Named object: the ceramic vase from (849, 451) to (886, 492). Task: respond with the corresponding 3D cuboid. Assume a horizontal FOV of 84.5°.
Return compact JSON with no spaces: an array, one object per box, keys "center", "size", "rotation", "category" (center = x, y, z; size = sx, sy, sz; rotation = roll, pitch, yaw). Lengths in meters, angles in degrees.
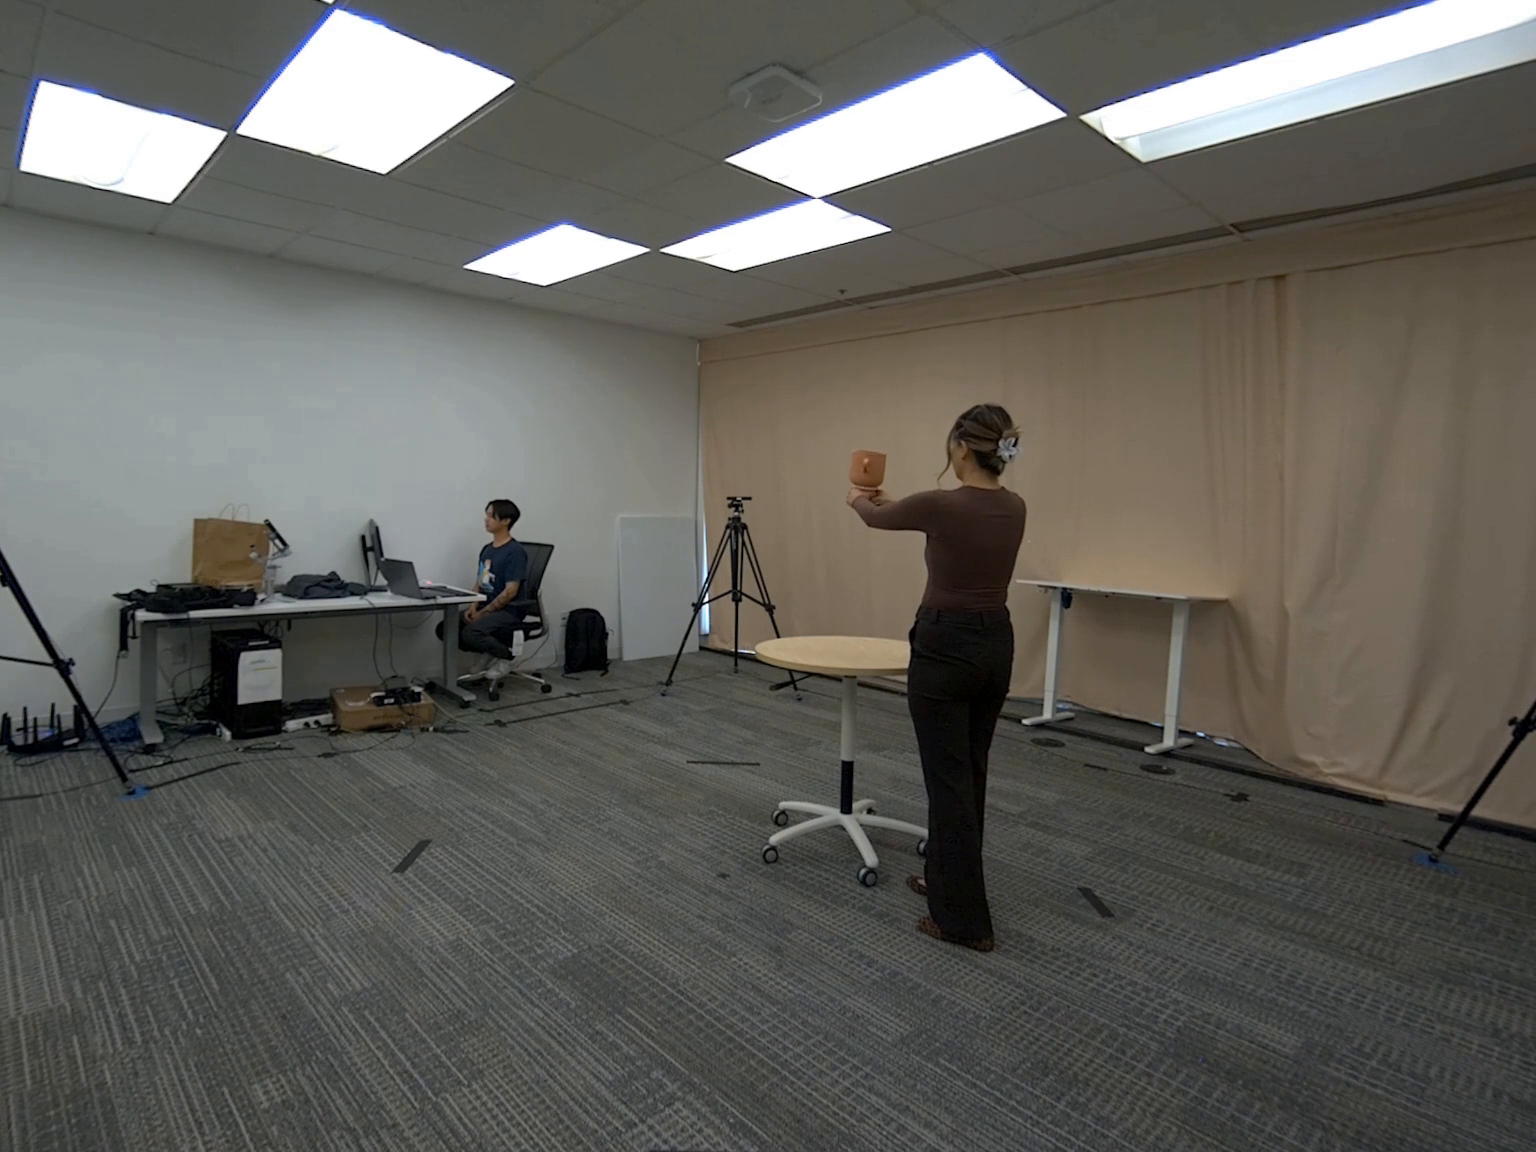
[{"center":[0.366,-0.368,3.242],"size":[0.155,0.218,0.138],"rotation":[-2,10,-38],"category":"ceramic vase"}]
